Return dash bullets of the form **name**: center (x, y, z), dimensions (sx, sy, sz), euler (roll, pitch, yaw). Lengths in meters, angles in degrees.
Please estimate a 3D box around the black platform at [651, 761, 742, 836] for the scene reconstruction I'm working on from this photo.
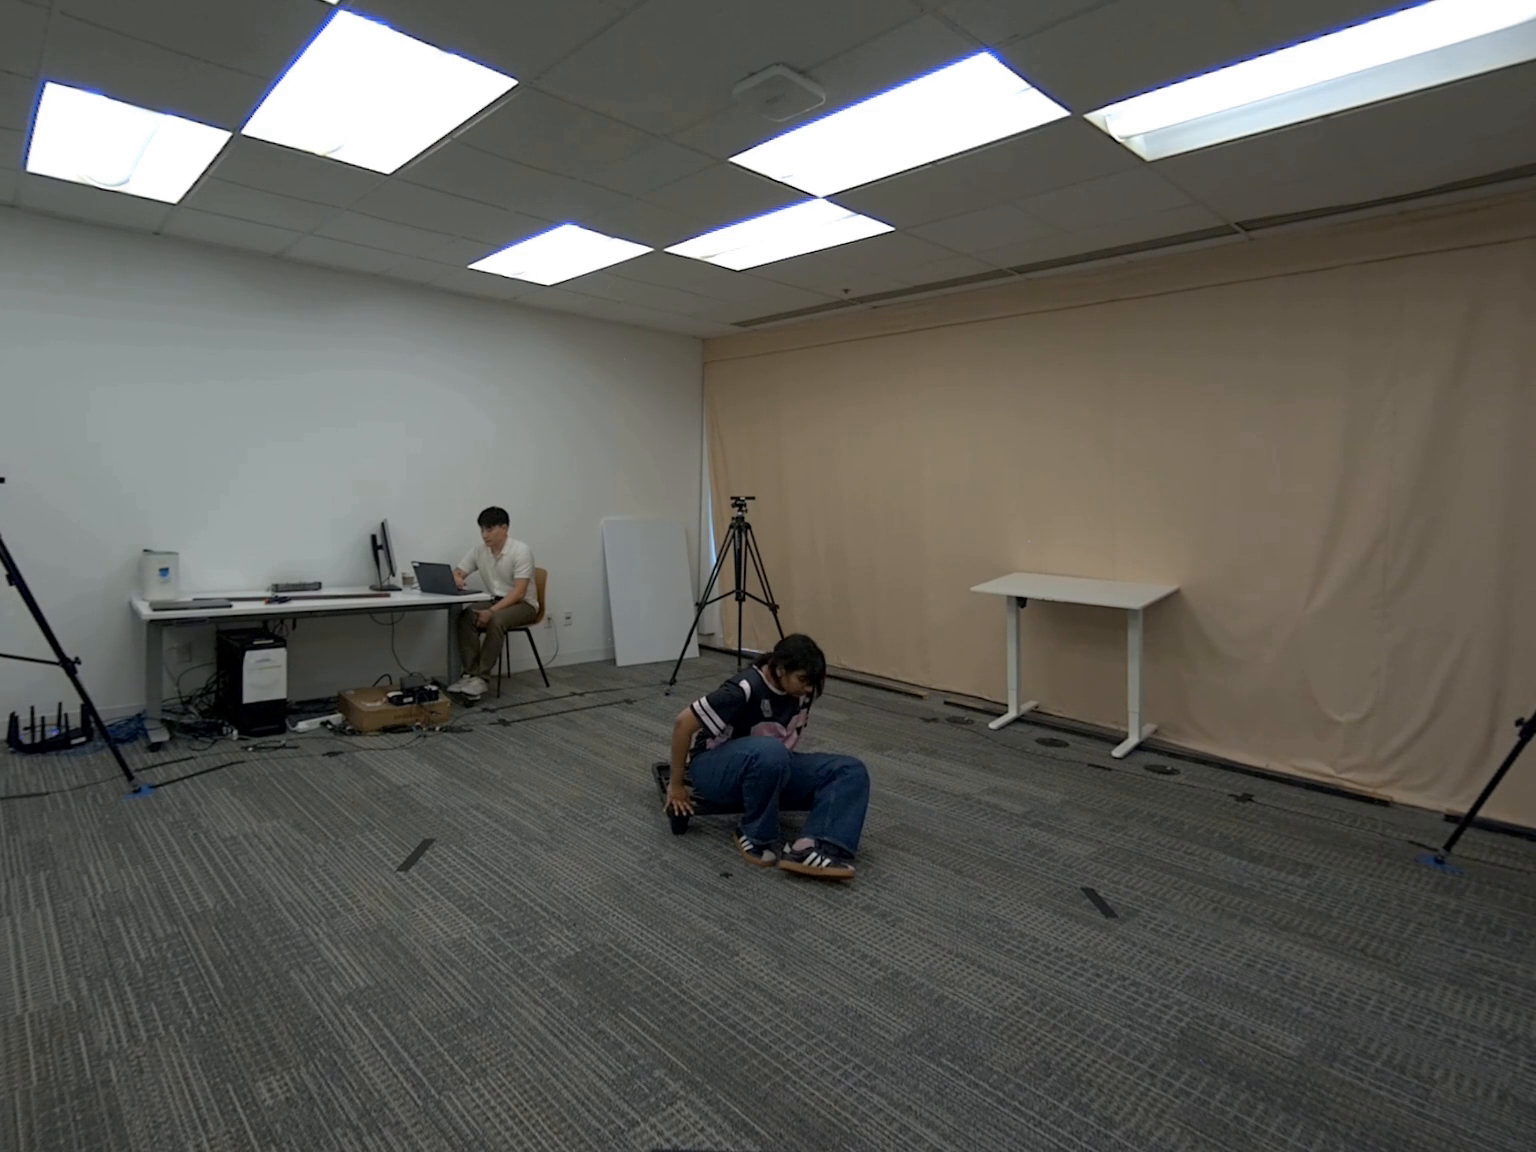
- **black platform**: center (-0.090, 0.982, 3.766), dimensions (0.798, 0.143, 0.612), euler (0, 5, -12)
